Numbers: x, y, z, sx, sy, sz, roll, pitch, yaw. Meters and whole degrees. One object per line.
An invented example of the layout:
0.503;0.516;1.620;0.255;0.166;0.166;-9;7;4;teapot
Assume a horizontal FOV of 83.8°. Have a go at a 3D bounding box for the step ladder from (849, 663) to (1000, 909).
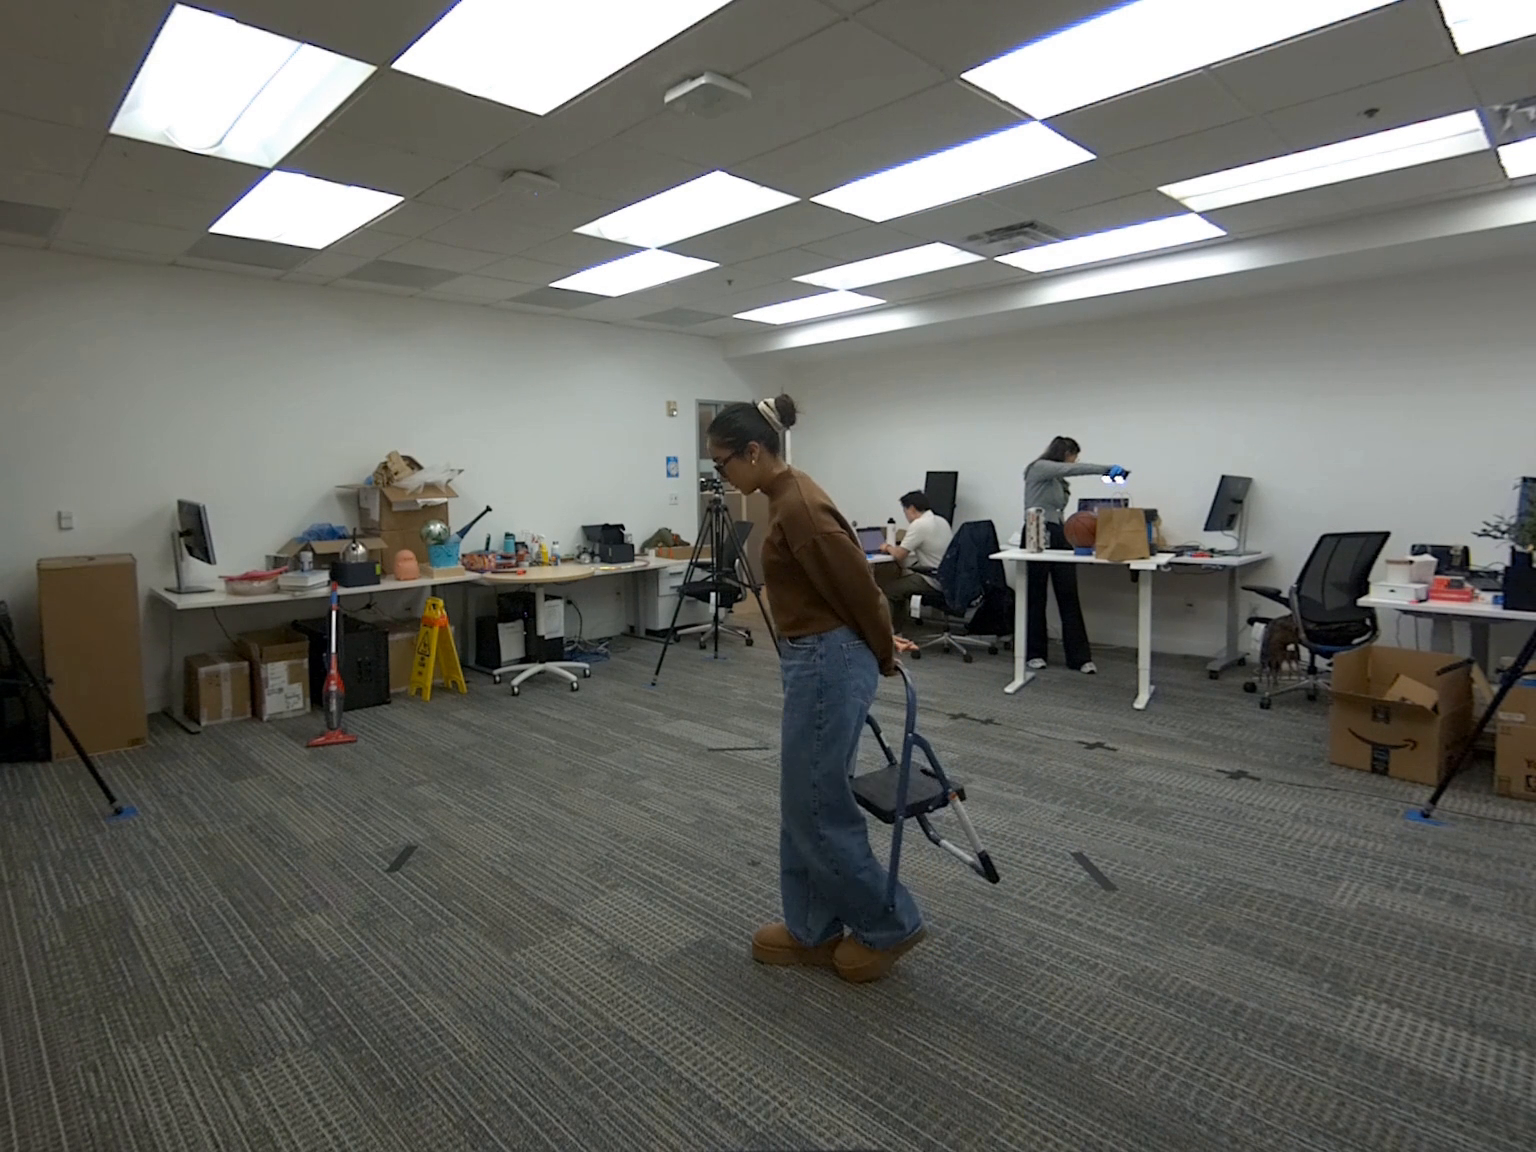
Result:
0.347;0.562;2.435;0.345;0.606;0.435;-13;1;-15;step ladder
